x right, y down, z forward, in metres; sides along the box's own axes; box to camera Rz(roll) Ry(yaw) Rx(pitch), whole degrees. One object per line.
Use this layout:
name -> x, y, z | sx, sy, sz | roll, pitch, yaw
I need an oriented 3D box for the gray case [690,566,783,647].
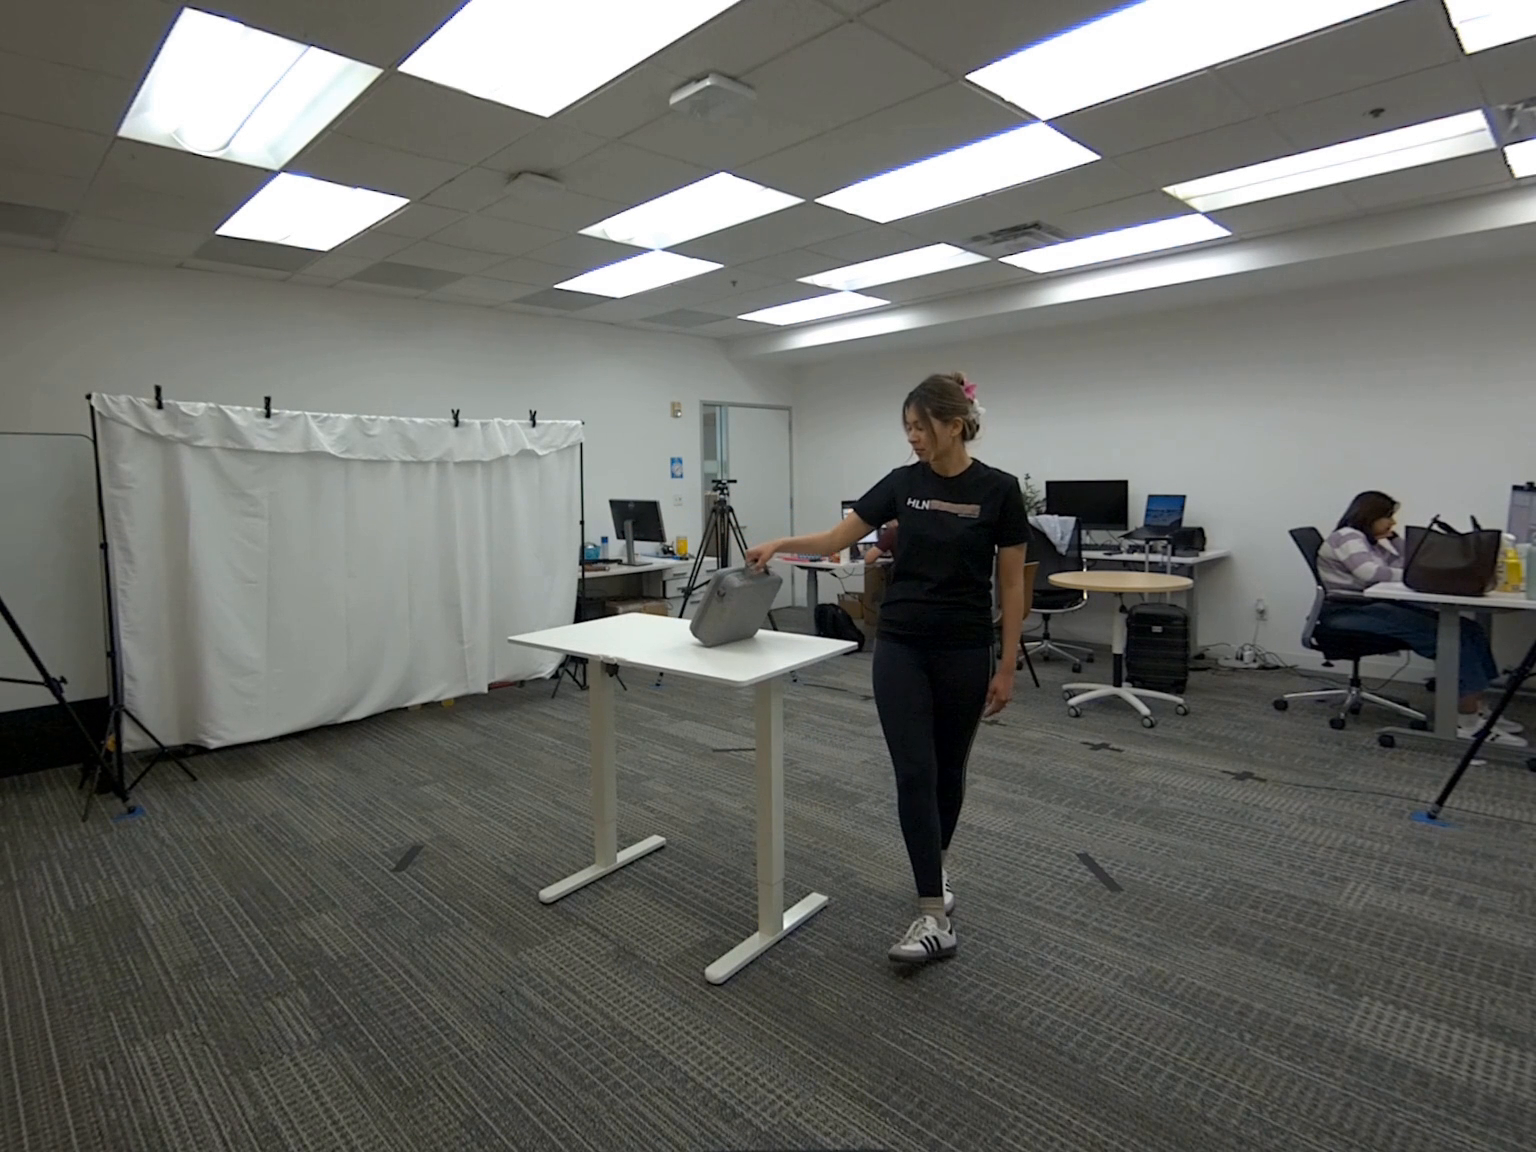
gray case -> -0.095, 0.083, 2.698 | 0.108, 0.258, 0.250 | 39, 29, 31
